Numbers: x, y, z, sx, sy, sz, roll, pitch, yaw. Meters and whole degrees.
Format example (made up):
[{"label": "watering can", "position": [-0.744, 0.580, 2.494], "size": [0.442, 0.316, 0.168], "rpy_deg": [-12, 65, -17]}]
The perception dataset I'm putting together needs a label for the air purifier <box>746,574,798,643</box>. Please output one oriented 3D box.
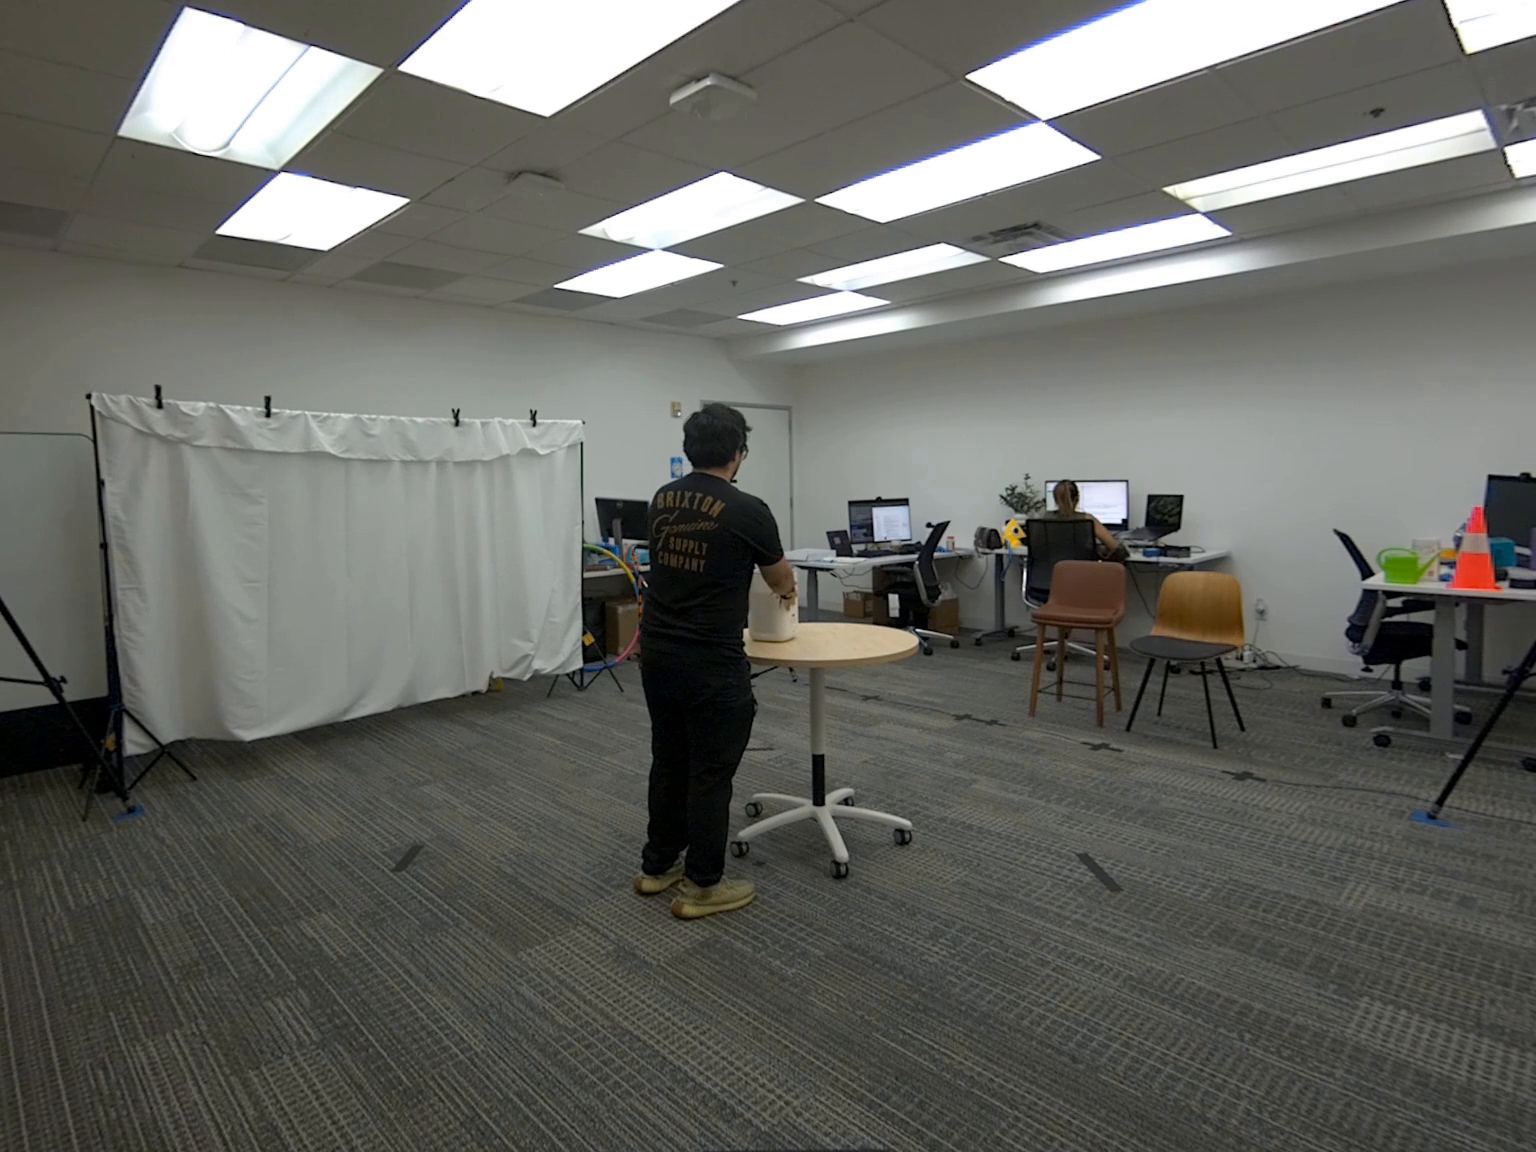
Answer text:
[{"label": "air purifier", "position": [0.022, 0.108, 3.286], "size": [0.176, 0.264, 0.168], "rpy_deg": [1, 6, 27]}]
